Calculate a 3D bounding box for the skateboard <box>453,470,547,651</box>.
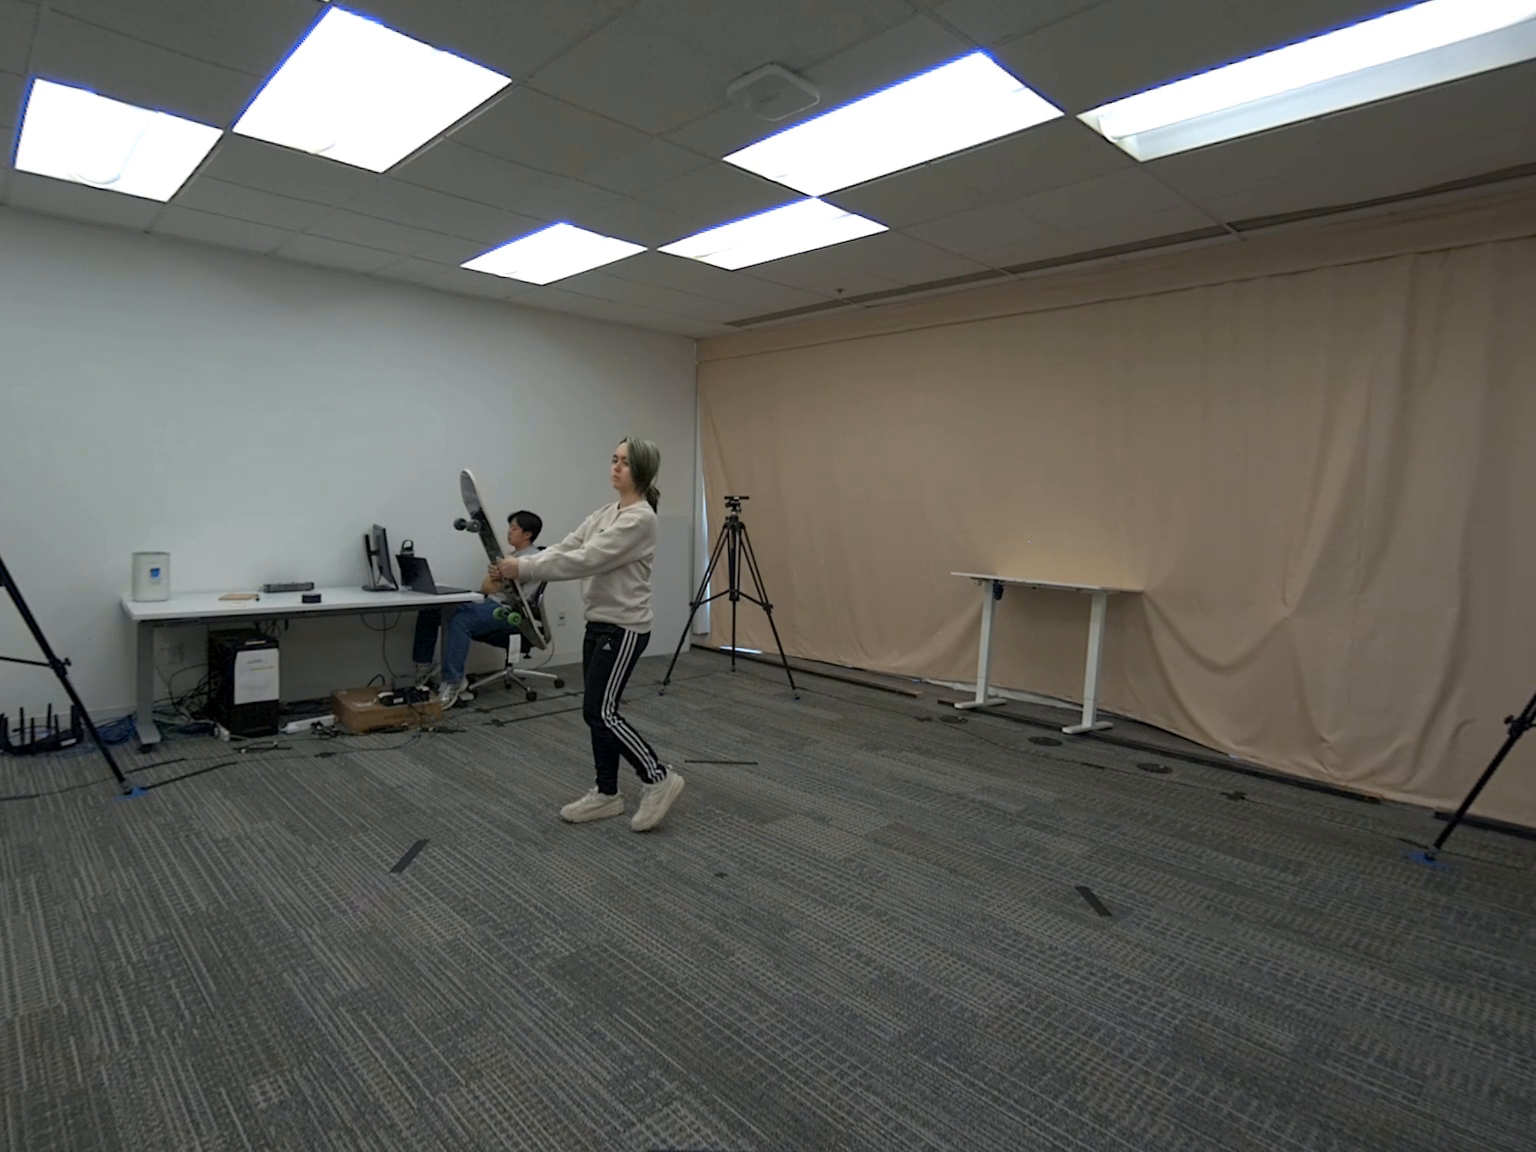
[{"bbox_3d":[-1.078,-0.031,3.294,0.109,0.773,0.198,-28,21,-32],"label":"skateboard"}]
